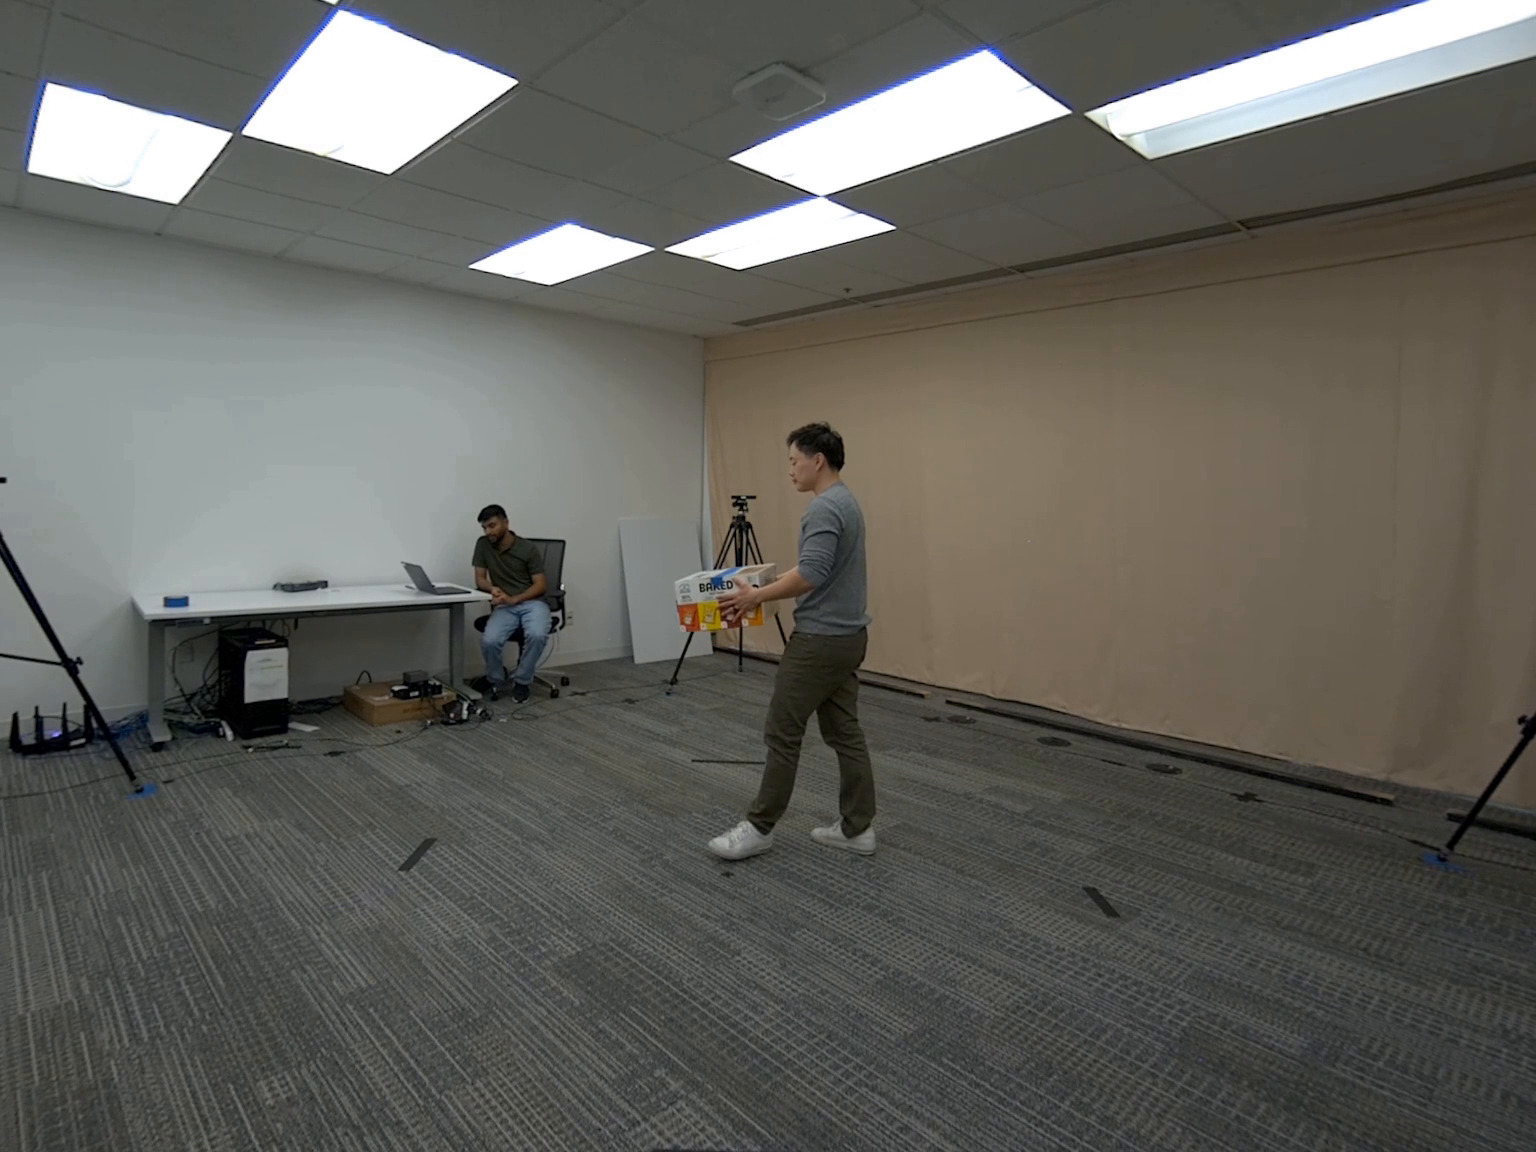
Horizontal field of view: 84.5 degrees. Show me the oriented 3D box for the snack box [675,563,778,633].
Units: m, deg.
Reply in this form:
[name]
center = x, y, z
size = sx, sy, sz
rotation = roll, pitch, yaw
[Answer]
[snack box]
center = -0.163, 0.084, 3.437
size = 0.343, 0.205, 0.403
rotation = -6, 5, 12
